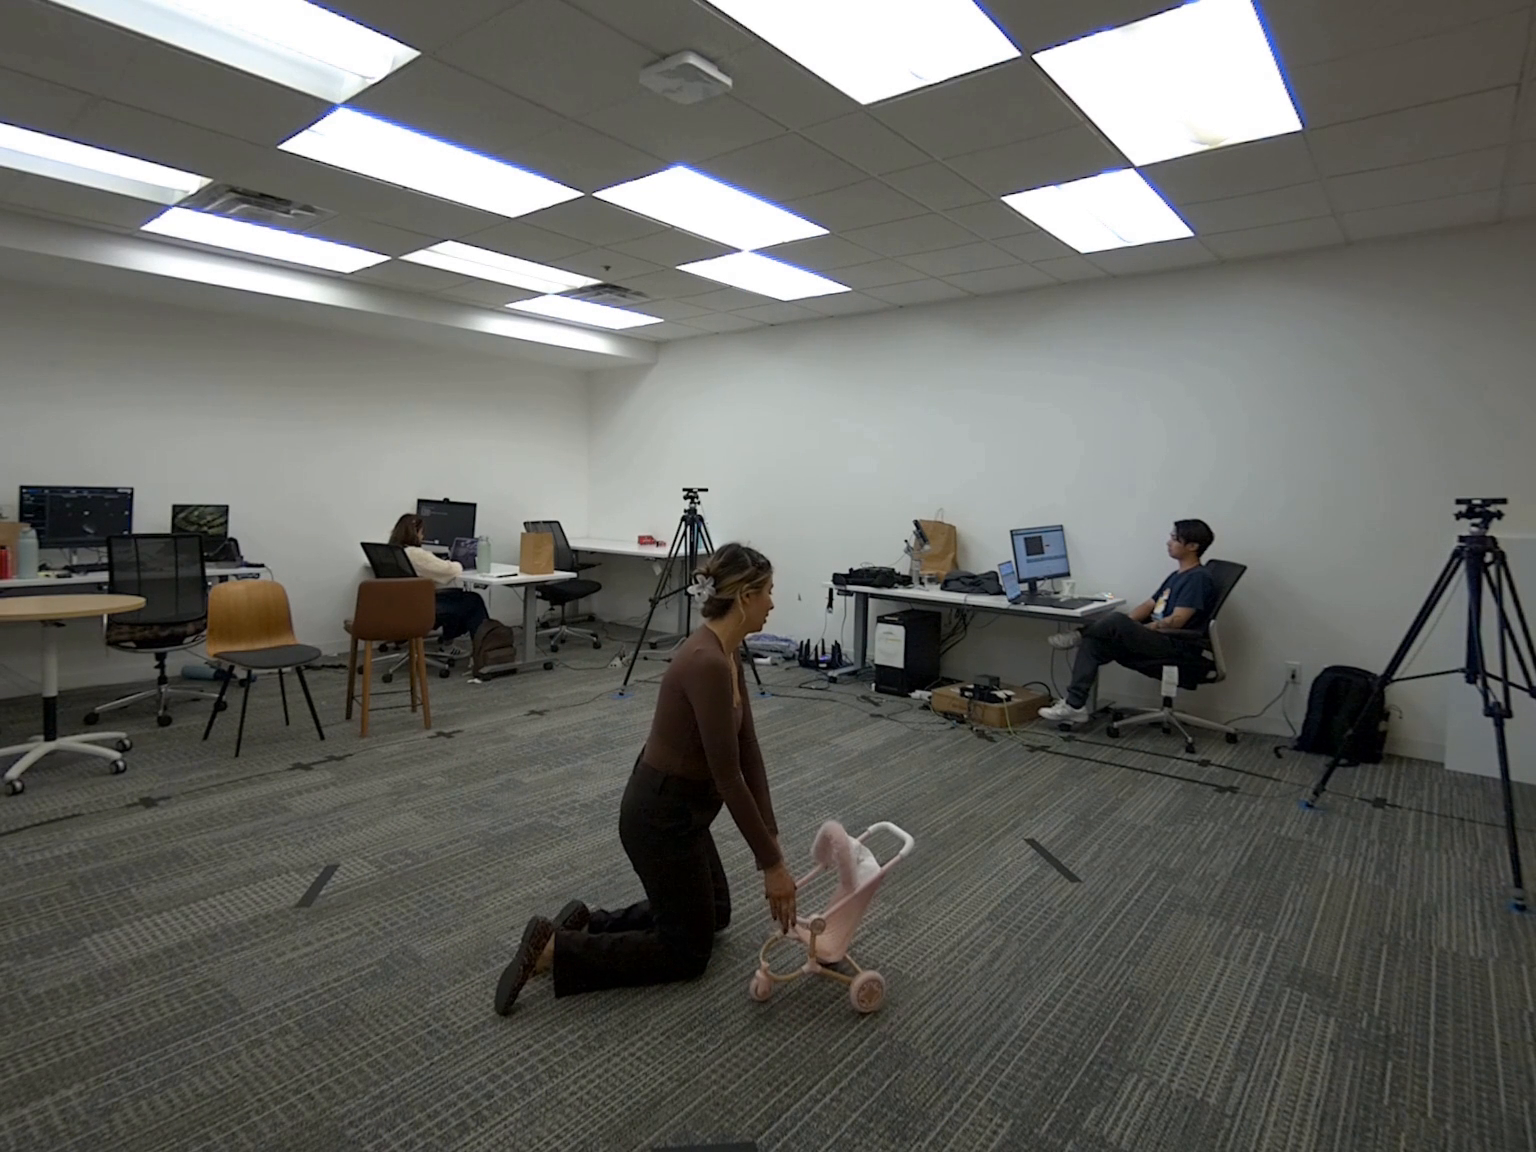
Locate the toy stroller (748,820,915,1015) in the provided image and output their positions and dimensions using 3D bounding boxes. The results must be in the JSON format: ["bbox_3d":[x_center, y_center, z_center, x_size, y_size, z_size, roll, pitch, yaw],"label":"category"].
[{"bbox_3d":[0.155,0.934,2.358,0.335,0.536,0.286,17,-2,-16],"label":"toy stroller"}]
